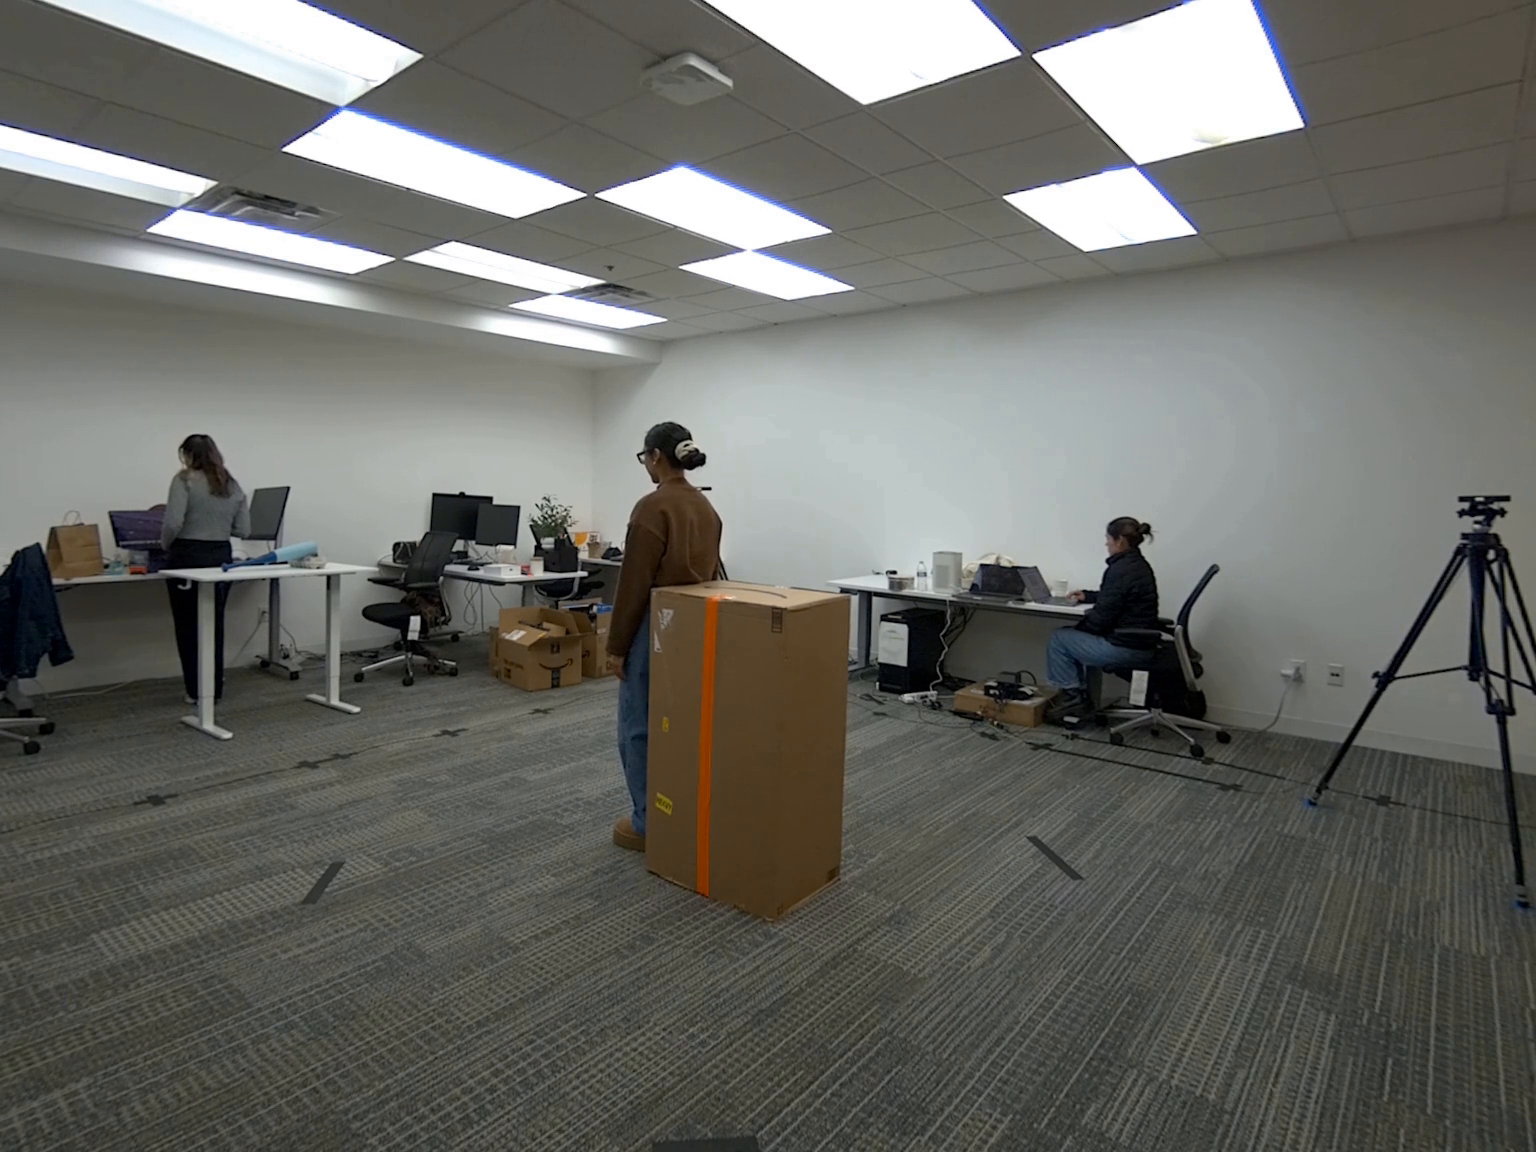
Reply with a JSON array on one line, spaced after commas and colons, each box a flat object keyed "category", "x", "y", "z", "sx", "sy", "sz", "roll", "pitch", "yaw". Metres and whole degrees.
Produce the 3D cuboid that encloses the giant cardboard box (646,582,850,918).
[{"category": "giant cardboard box", "x": -0.082, "y": 0.565, "z": 3.021, "sx": 0.603, "sy": 1.023, "sz": 0.434, "roll": 5, "pitch": 5, "yaw": 36}]
